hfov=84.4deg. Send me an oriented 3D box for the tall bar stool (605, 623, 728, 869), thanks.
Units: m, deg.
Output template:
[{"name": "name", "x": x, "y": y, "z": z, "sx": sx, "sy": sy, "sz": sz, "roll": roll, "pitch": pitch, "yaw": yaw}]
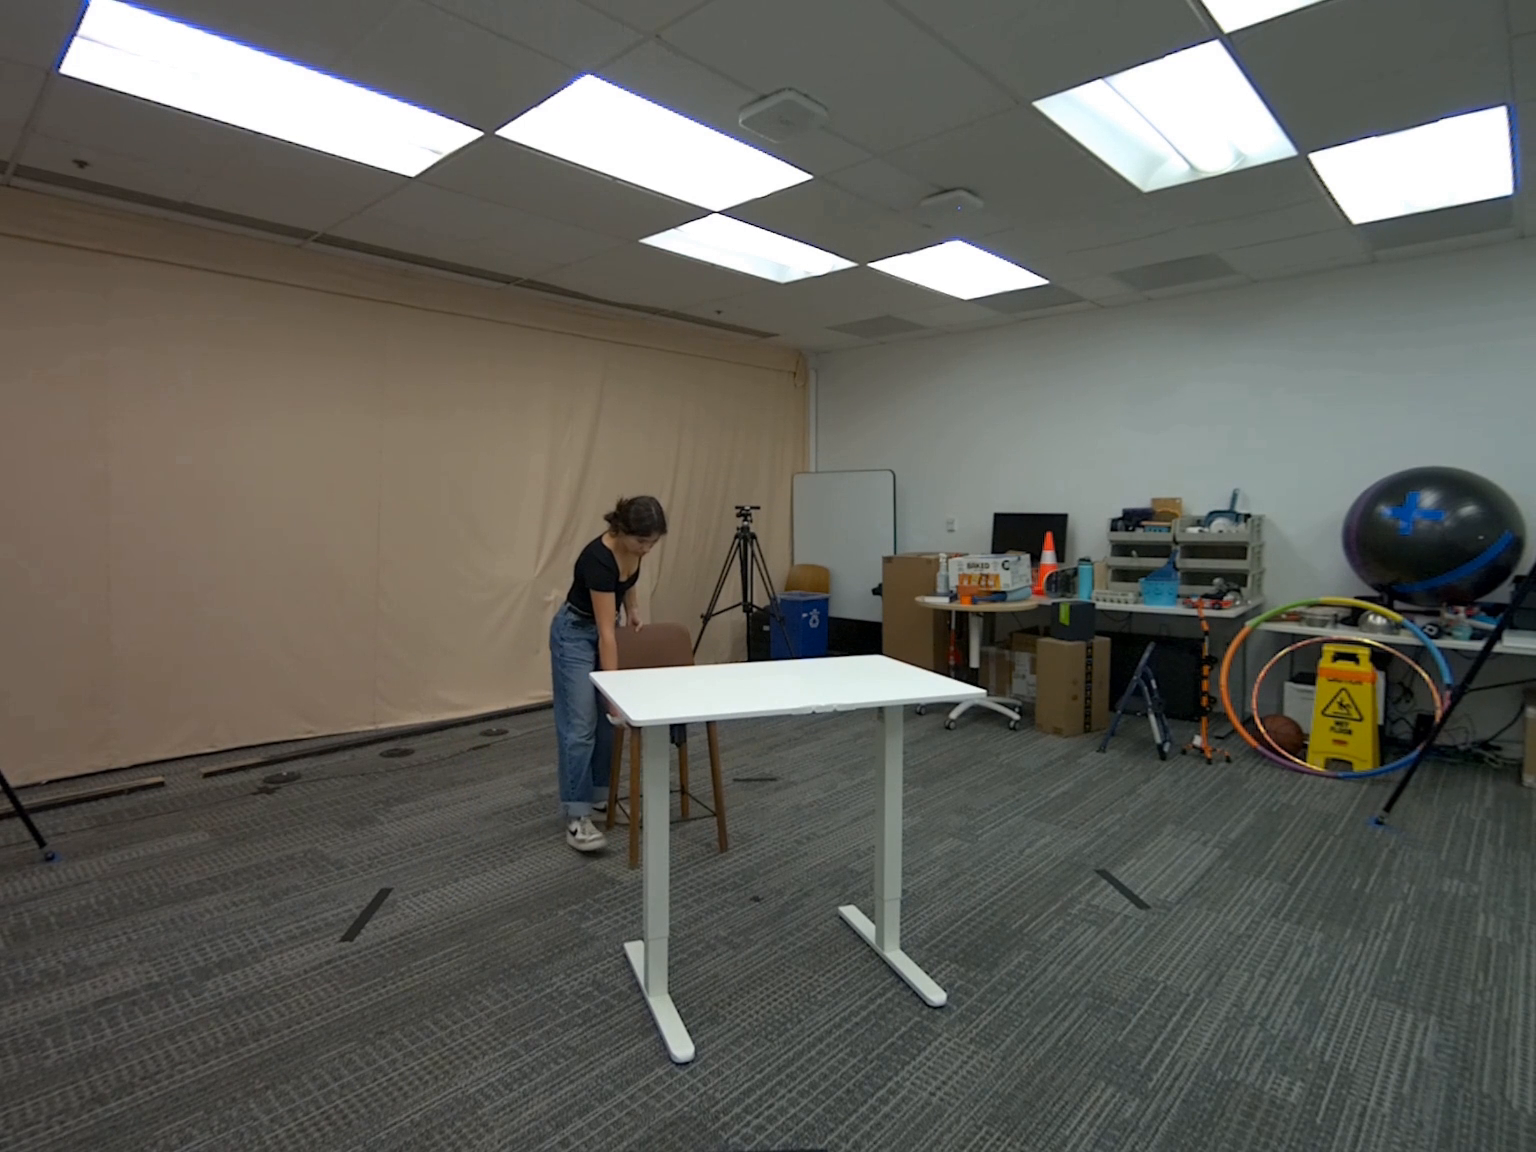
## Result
[{"name": "tall bar stool", "x": -0.441, "y": 0.667, "z": 3.490, "sx": 0.446, "sy": 0.889, "sz": 0.478, "roll": -2, "pitch": 2, "yaw": -23}]
